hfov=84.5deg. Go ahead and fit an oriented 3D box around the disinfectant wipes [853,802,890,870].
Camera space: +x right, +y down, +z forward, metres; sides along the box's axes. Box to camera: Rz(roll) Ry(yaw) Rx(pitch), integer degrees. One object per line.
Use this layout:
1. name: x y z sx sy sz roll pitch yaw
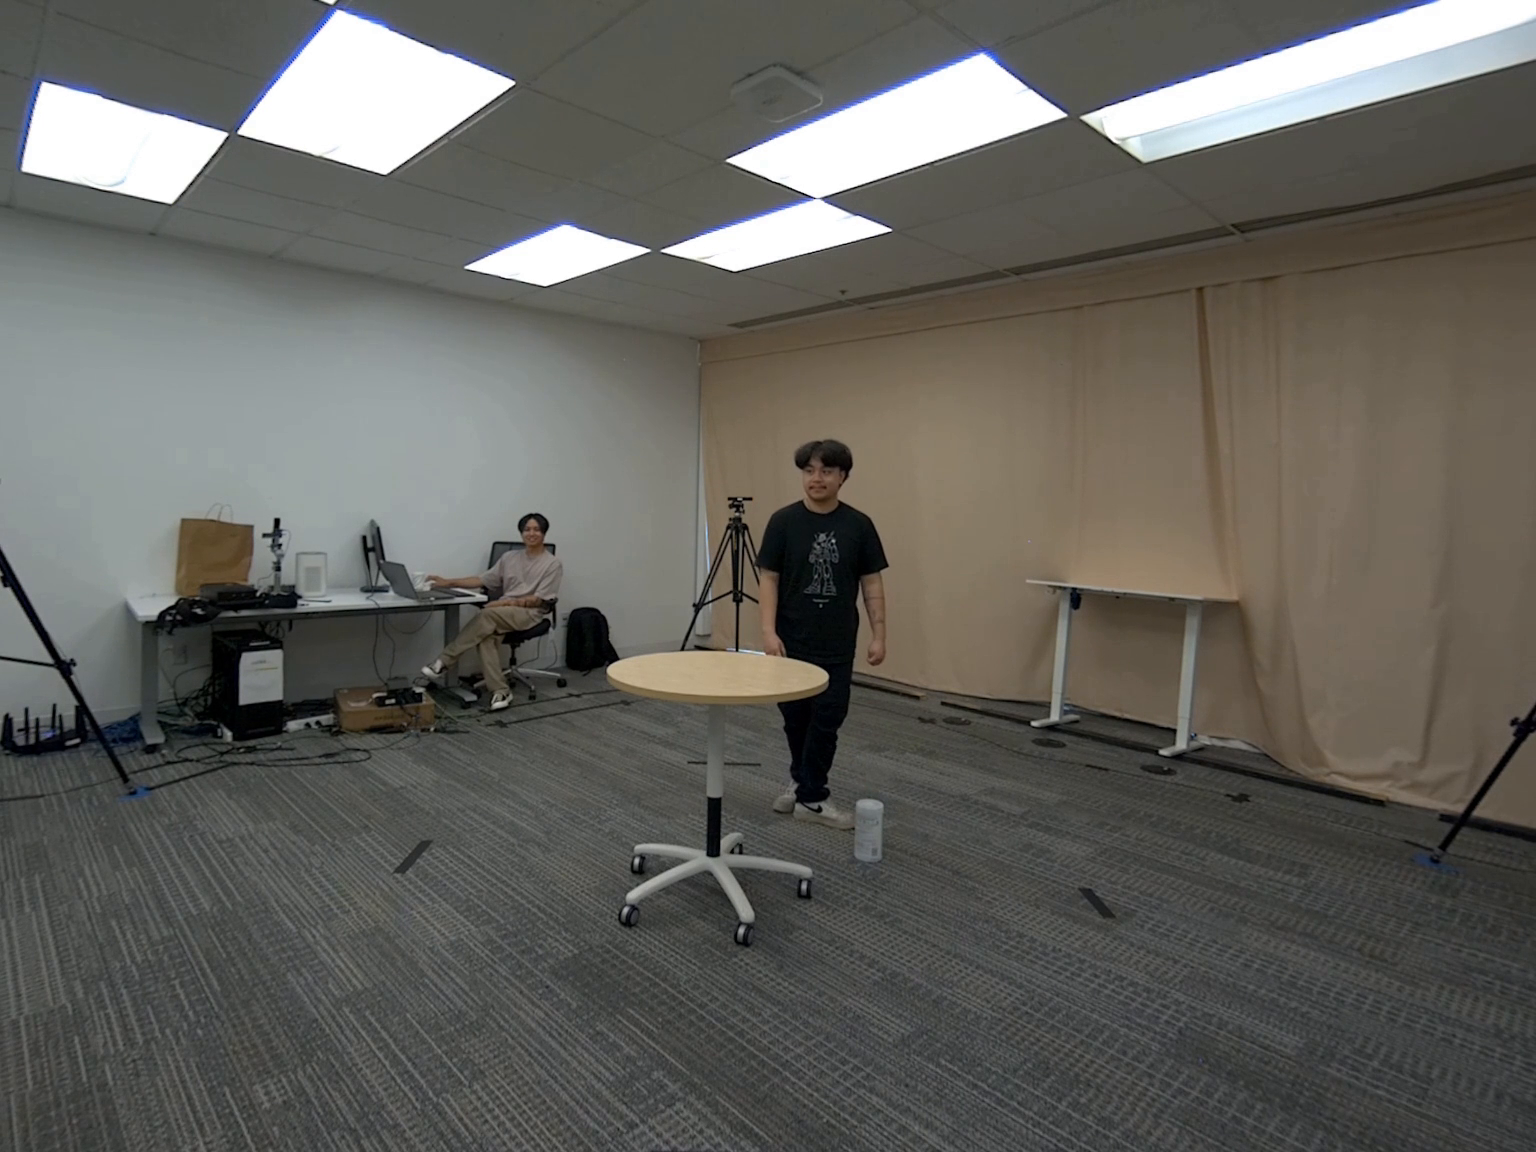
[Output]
1. disinfectant wipes: 0.400 1.006 3.289 0.118 0.217 0.118 1 1 -1
